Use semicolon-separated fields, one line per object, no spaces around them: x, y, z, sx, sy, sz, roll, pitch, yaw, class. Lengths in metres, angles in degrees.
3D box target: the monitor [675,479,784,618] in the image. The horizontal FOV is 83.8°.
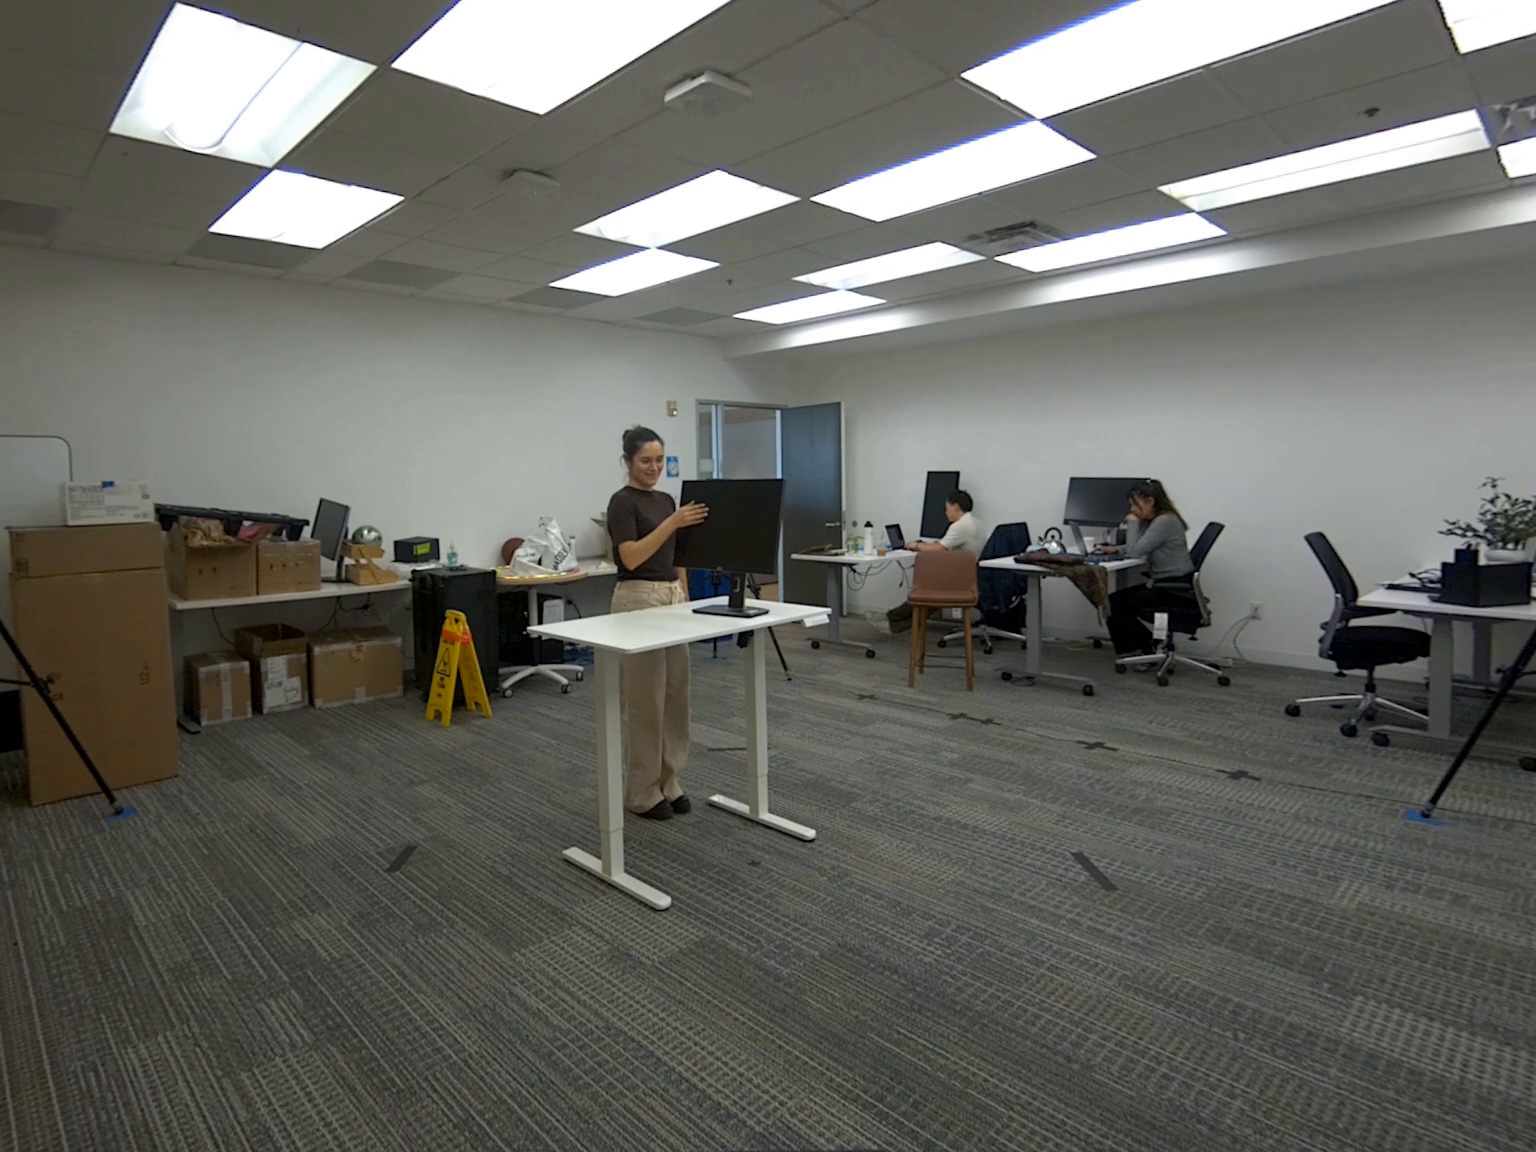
-0.139;-0.110;3.280;0.555;0.520;0.182;3;6;42;monitor
